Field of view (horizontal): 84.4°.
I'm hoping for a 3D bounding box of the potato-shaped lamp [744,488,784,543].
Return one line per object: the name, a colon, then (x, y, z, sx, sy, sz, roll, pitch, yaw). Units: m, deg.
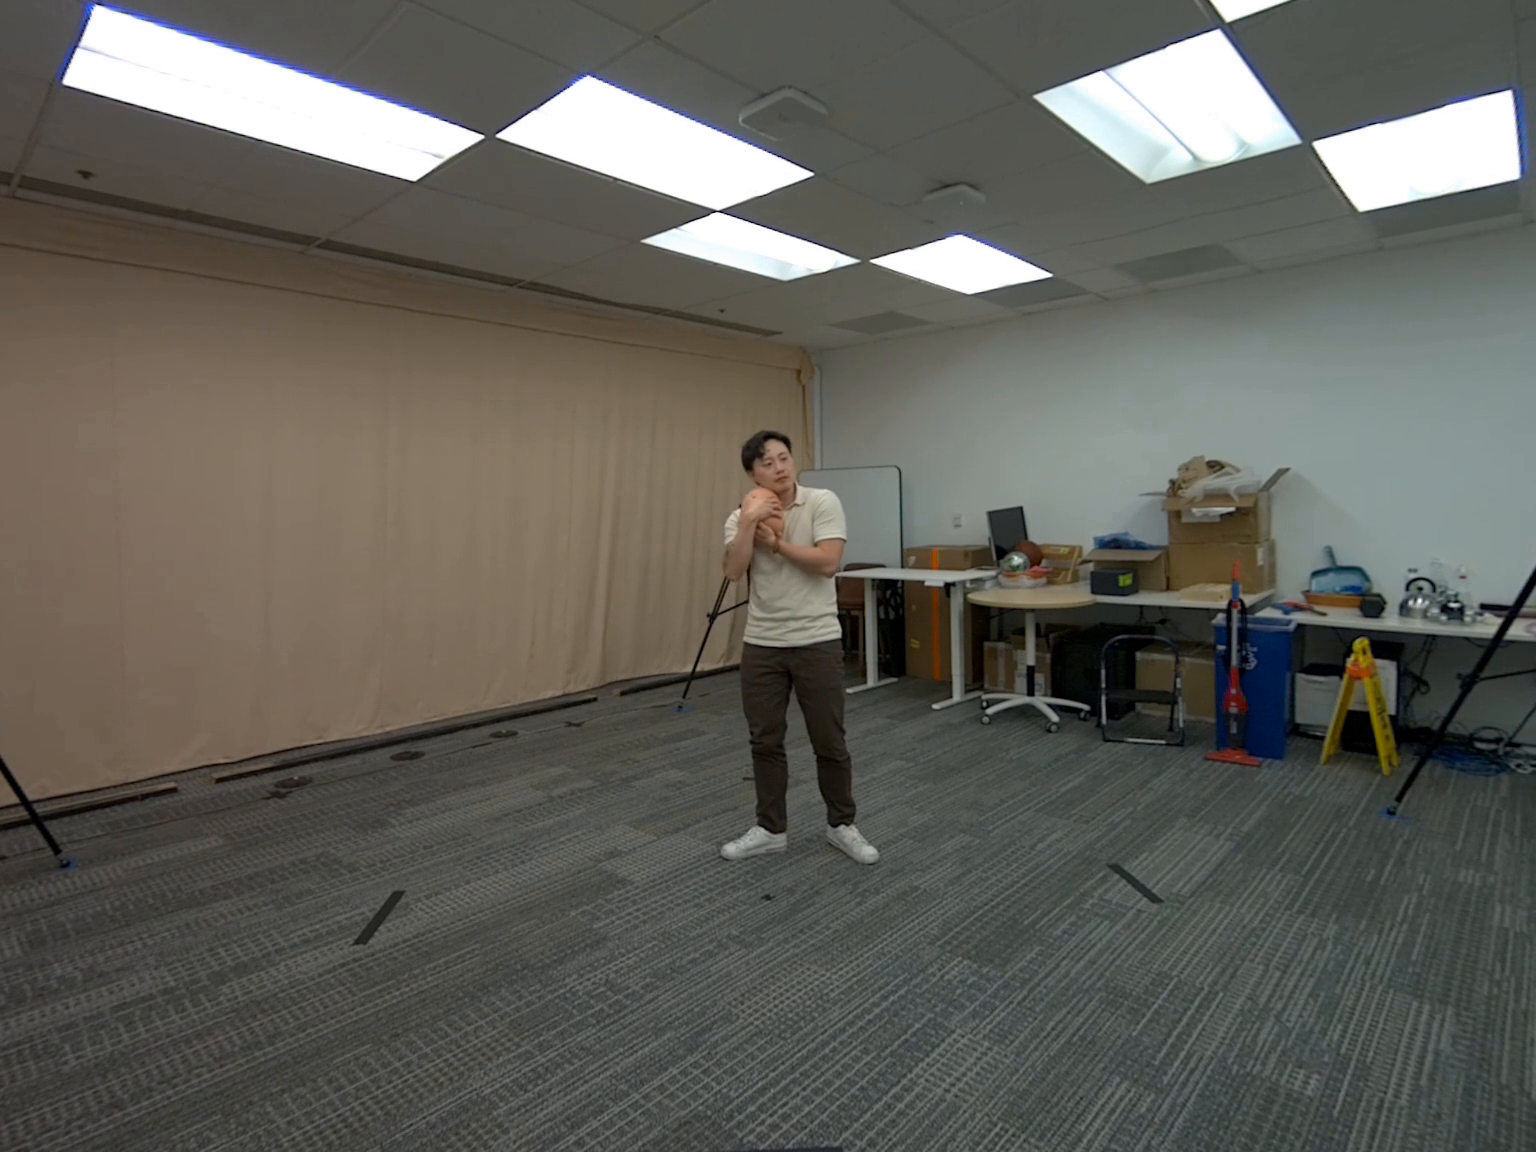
potato-shaped lamp: (-0.017, -0.240, 3.247, 0.168, 0.200, 0.166, -20, -46, 38)
